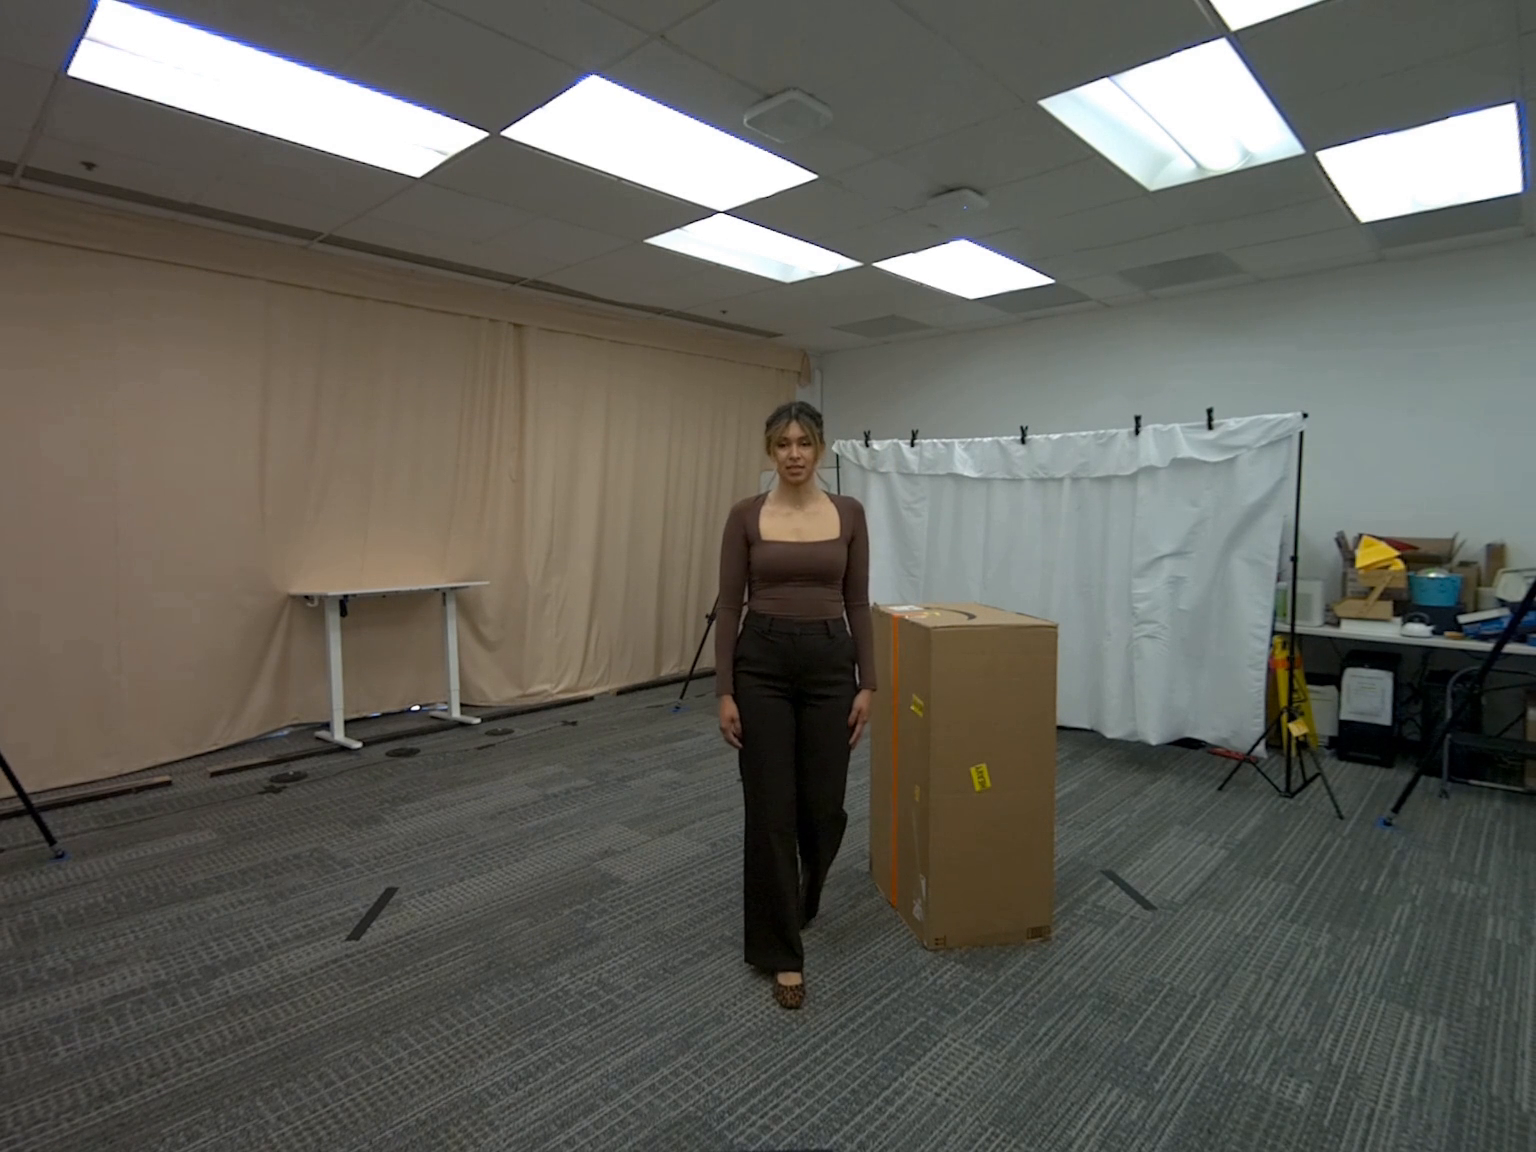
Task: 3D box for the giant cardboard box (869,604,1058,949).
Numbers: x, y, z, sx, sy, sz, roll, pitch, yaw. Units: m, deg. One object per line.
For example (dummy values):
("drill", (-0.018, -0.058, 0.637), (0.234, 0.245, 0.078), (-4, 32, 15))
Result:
("giant cardboard box", (0.656, 0.639, 2.911), (0.442, 1.025, 0.592), (0, 3, -12))
